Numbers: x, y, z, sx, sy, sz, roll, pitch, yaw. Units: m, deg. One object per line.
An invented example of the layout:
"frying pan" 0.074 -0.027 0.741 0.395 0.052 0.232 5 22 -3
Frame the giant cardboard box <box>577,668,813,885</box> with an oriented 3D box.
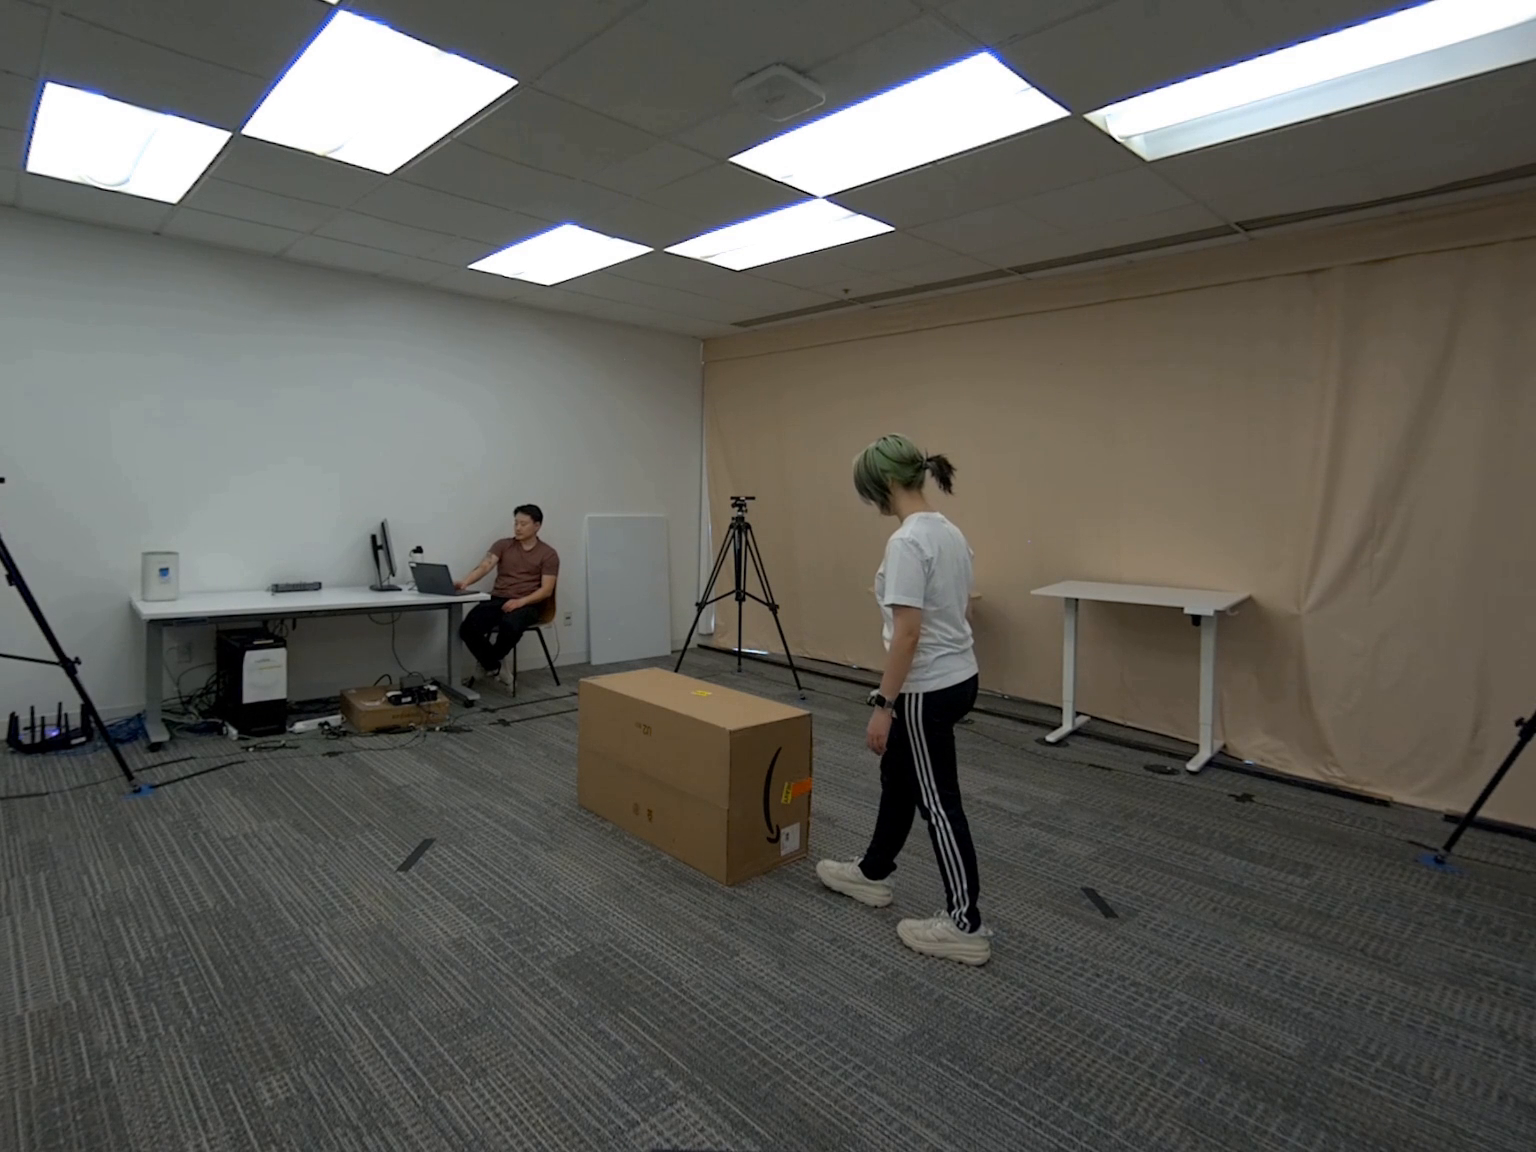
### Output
"giant cardboard box" -0.346 0.776 3.513 0.436 0.582 1.054 -1 5 -43
